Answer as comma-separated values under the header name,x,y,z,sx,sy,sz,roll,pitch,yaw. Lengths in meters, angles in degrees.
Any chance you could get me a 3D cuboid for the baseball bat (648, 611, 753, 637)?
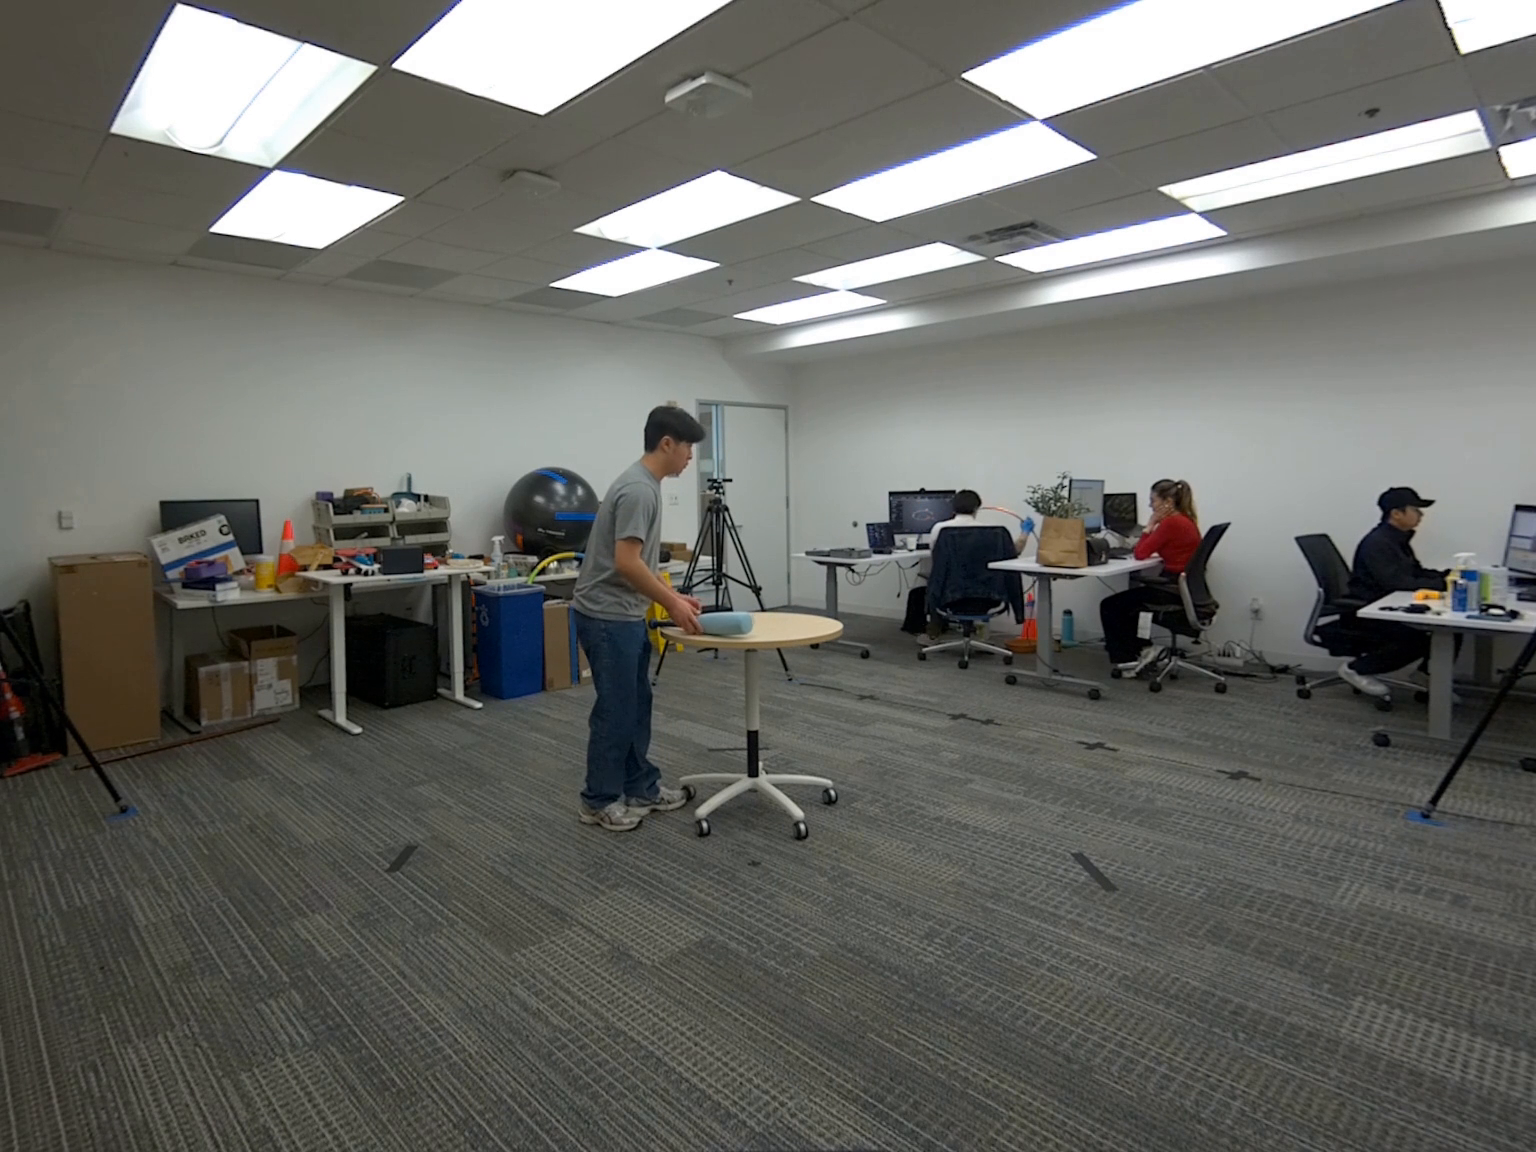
name,x,y,z,sx,sy,sz,roll,pitch,yaw
baseball bat,-0.290,0.199,3.437,0.557,0.089,0.087,-5,1,40
